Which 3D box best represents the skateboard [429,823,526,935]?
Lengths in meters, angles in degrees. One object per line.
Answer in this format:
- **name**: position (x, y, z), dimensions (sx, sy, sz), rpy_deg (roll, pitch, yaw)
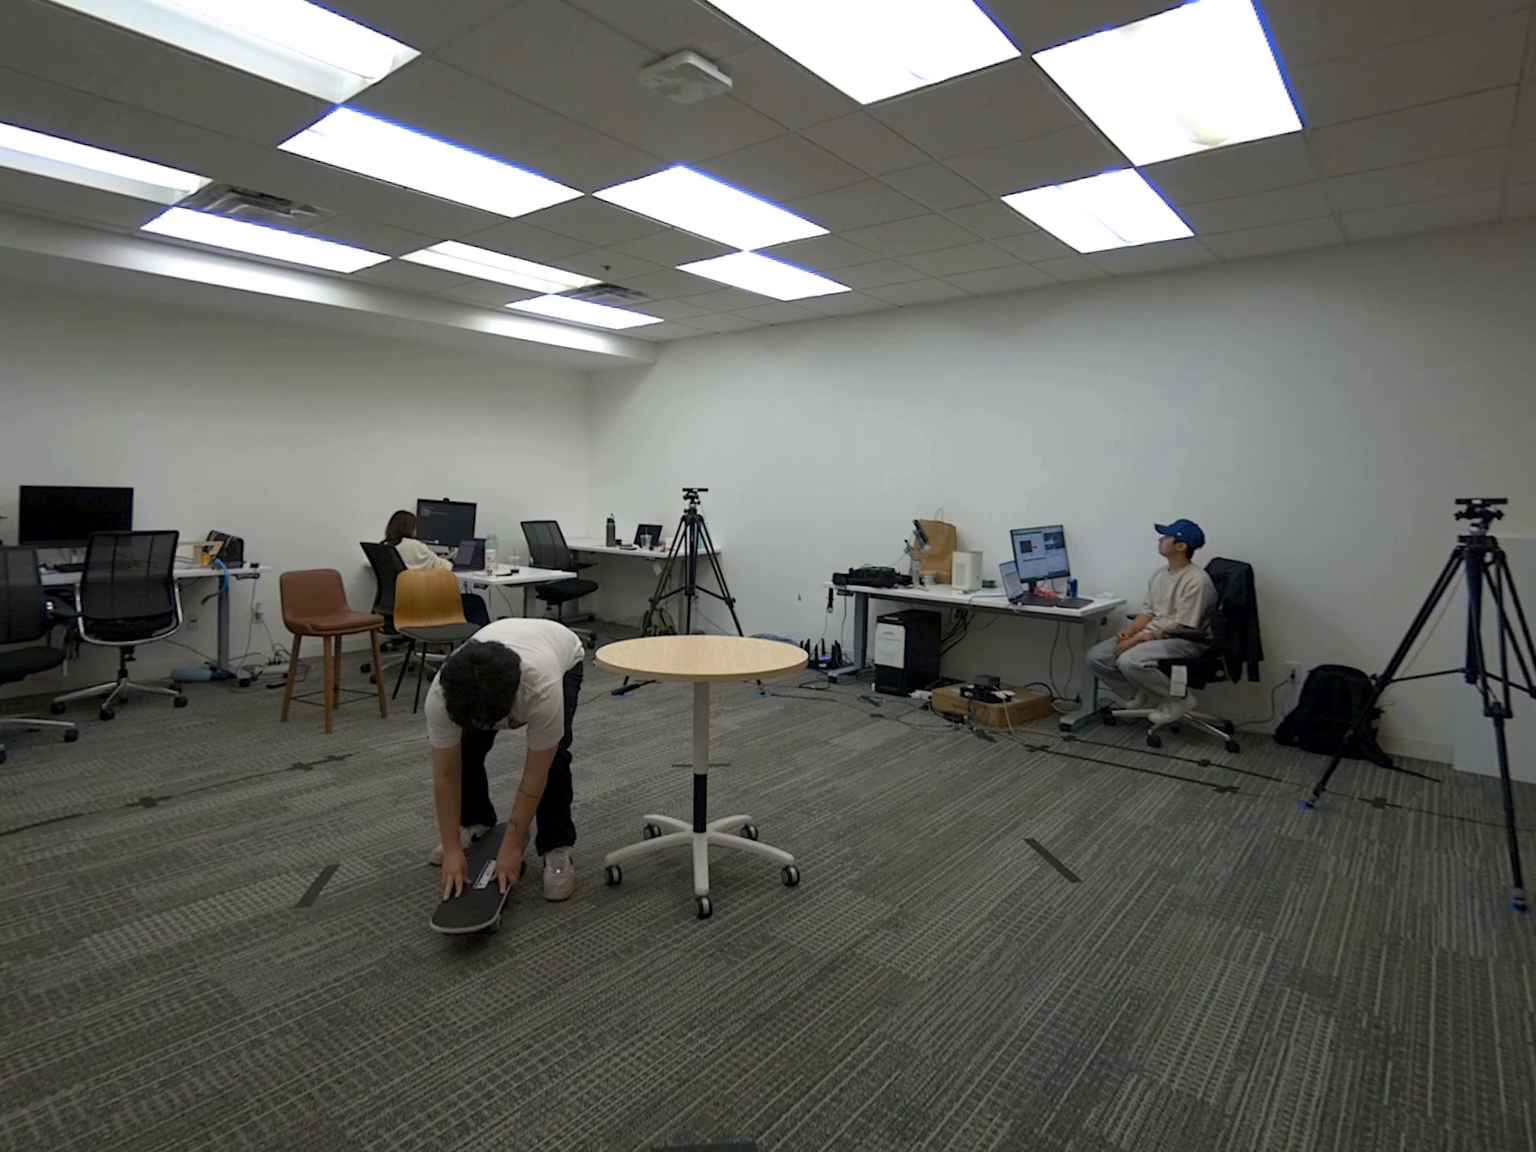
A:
- **skateboard**: position (-0.949, 1.028, 2.851), dimensions (0.193, 0.110, 0.791), rpy_deg (0, 6, -5)
